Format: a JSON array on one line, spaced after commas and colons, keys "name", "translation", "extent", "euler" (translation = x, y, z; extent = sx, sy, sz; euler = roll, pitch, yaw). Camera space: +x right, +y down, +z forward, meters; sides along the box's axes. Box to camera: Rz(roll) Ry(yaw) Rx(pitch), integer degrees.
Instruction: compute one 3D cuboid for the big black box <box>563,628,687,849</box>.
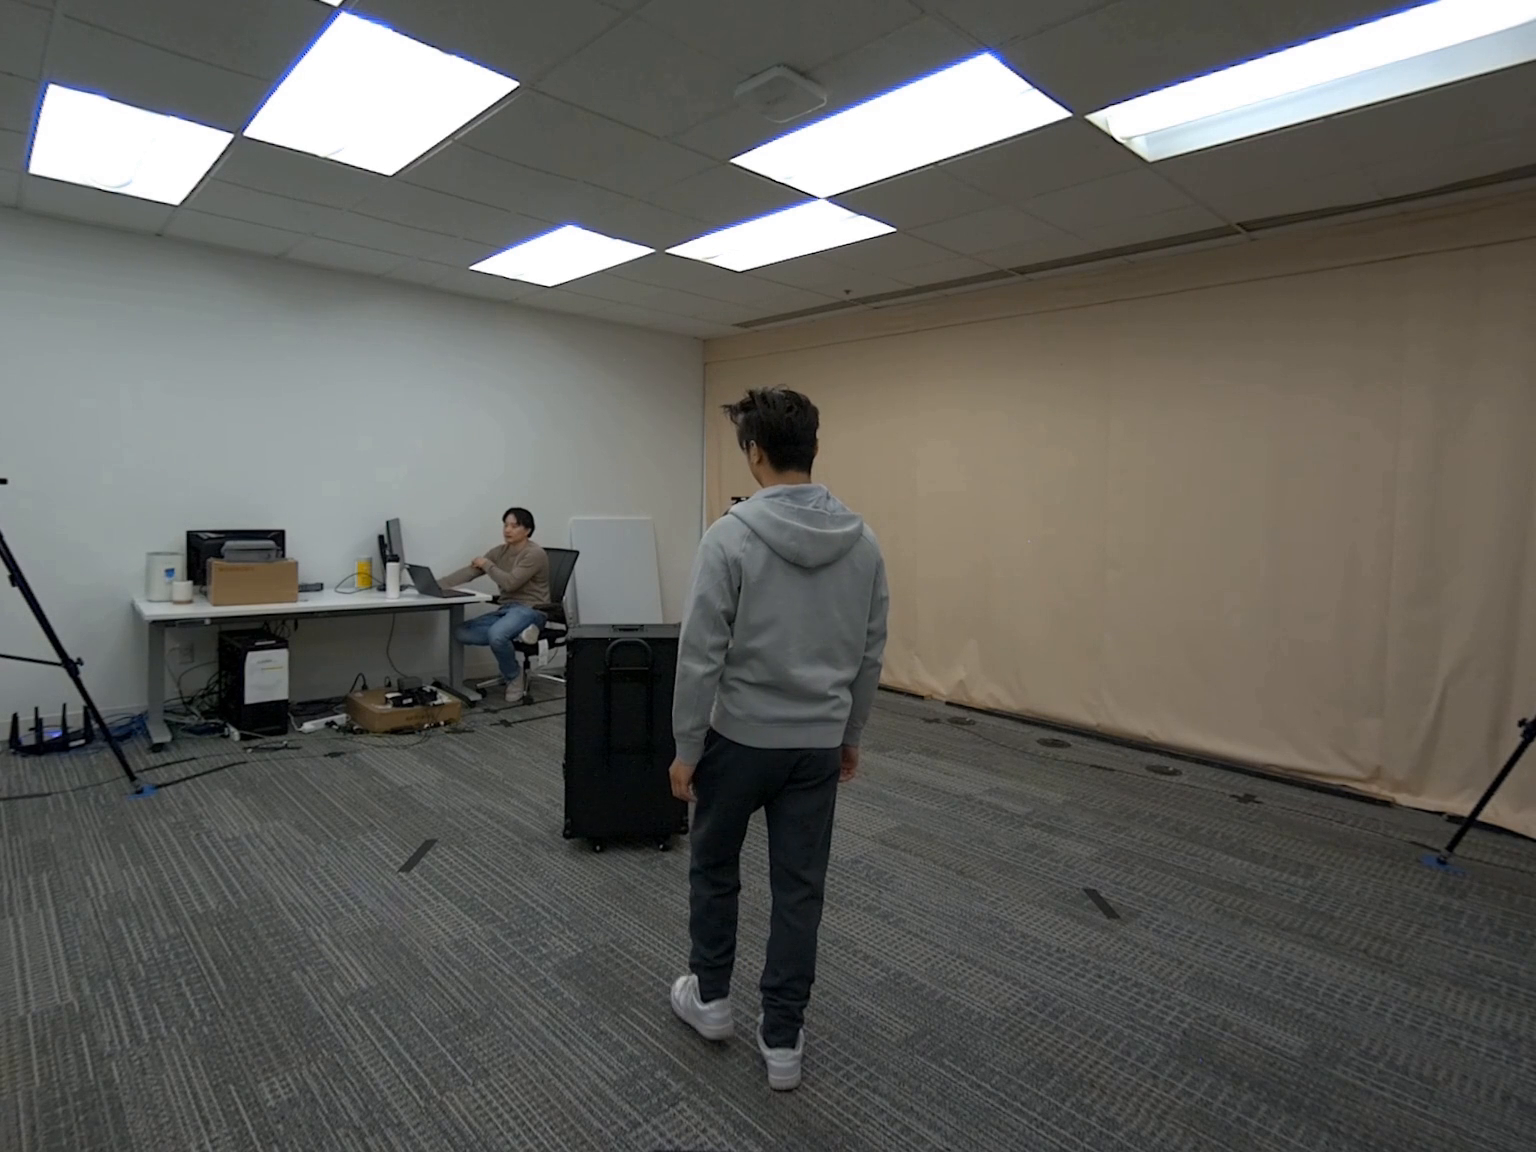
[{"name": "big black box", "translation": [-0.589, 0.585, 3.413], "extent": [0.517, 0.860, 0.400], "euler": [1, 3, -11]}]
